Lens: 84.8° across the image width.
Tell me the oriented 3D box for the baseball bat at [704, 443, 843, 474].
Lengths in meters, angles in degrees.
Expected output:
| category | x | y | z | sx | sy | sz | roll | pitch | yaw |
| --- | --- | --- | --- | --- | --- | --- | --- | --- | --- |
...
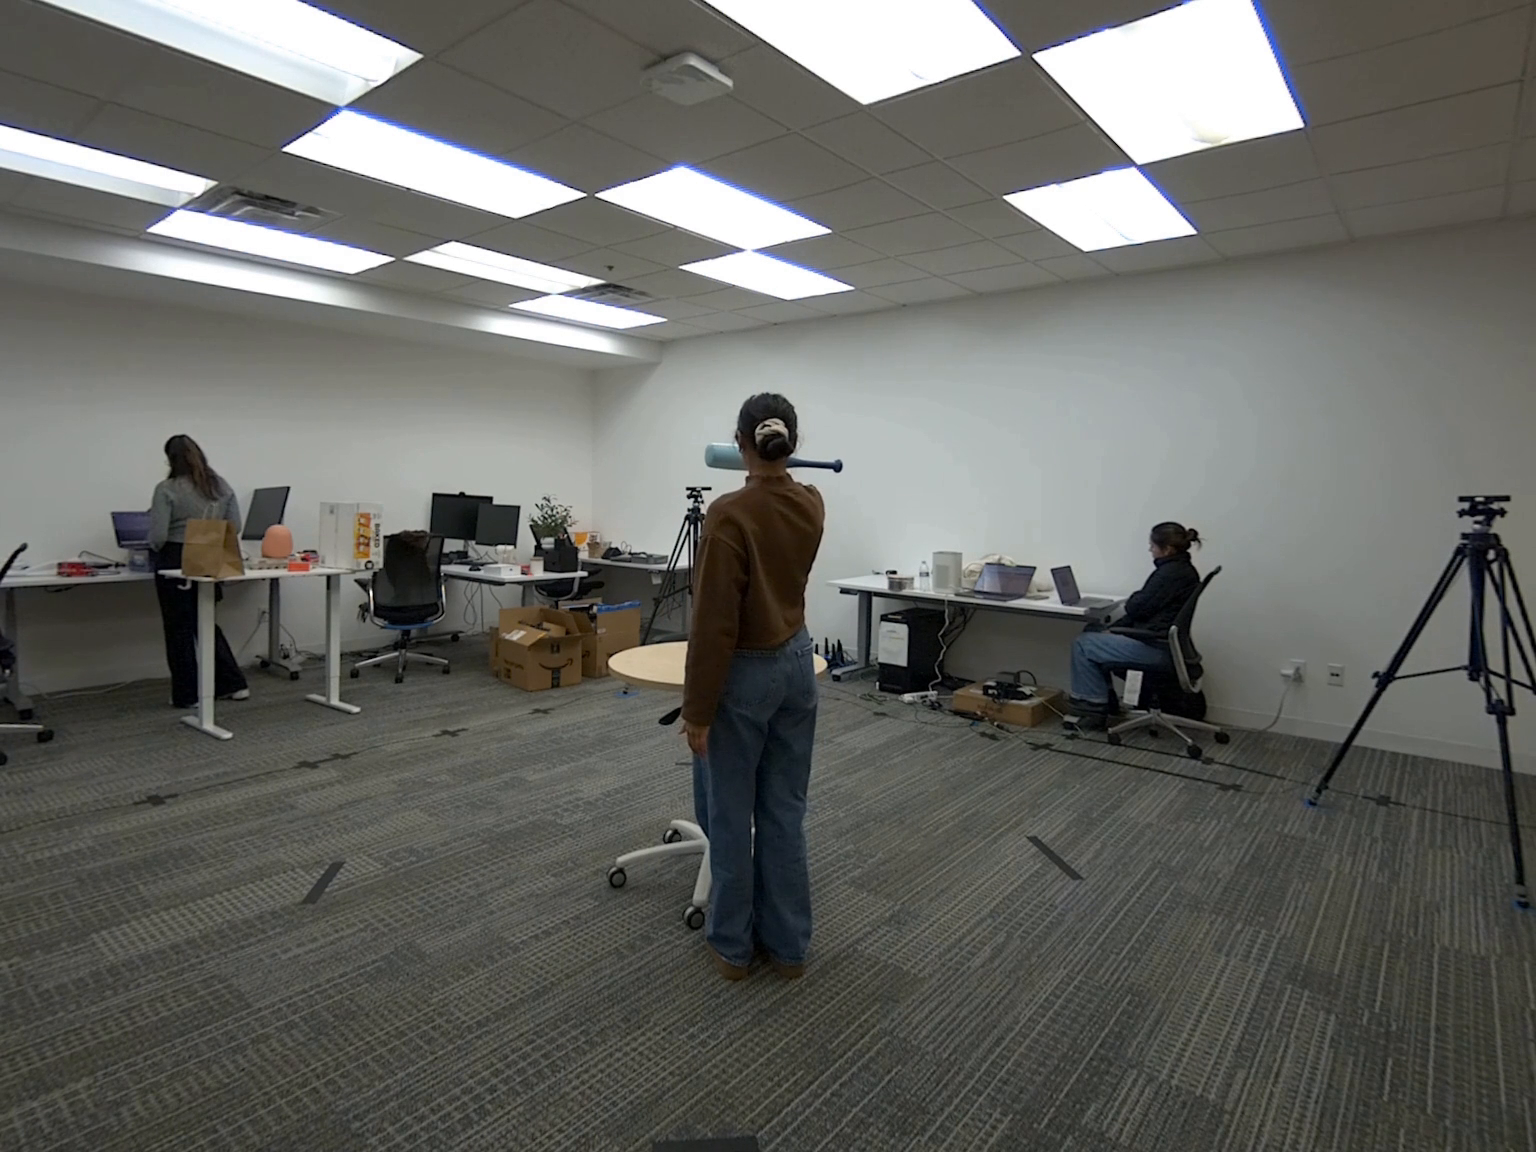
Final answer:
| category | x | y | z | sx | sy | sz | roll | pitch | yaw |
| --- | --- | --- | --- | --- | --- | --- | --- | --- | --- |
| baseball bat | 0.020 | -0.417 | 3.073 | 0.530 | 0.089 | 0.091 | 1 | 3 | -25 |
